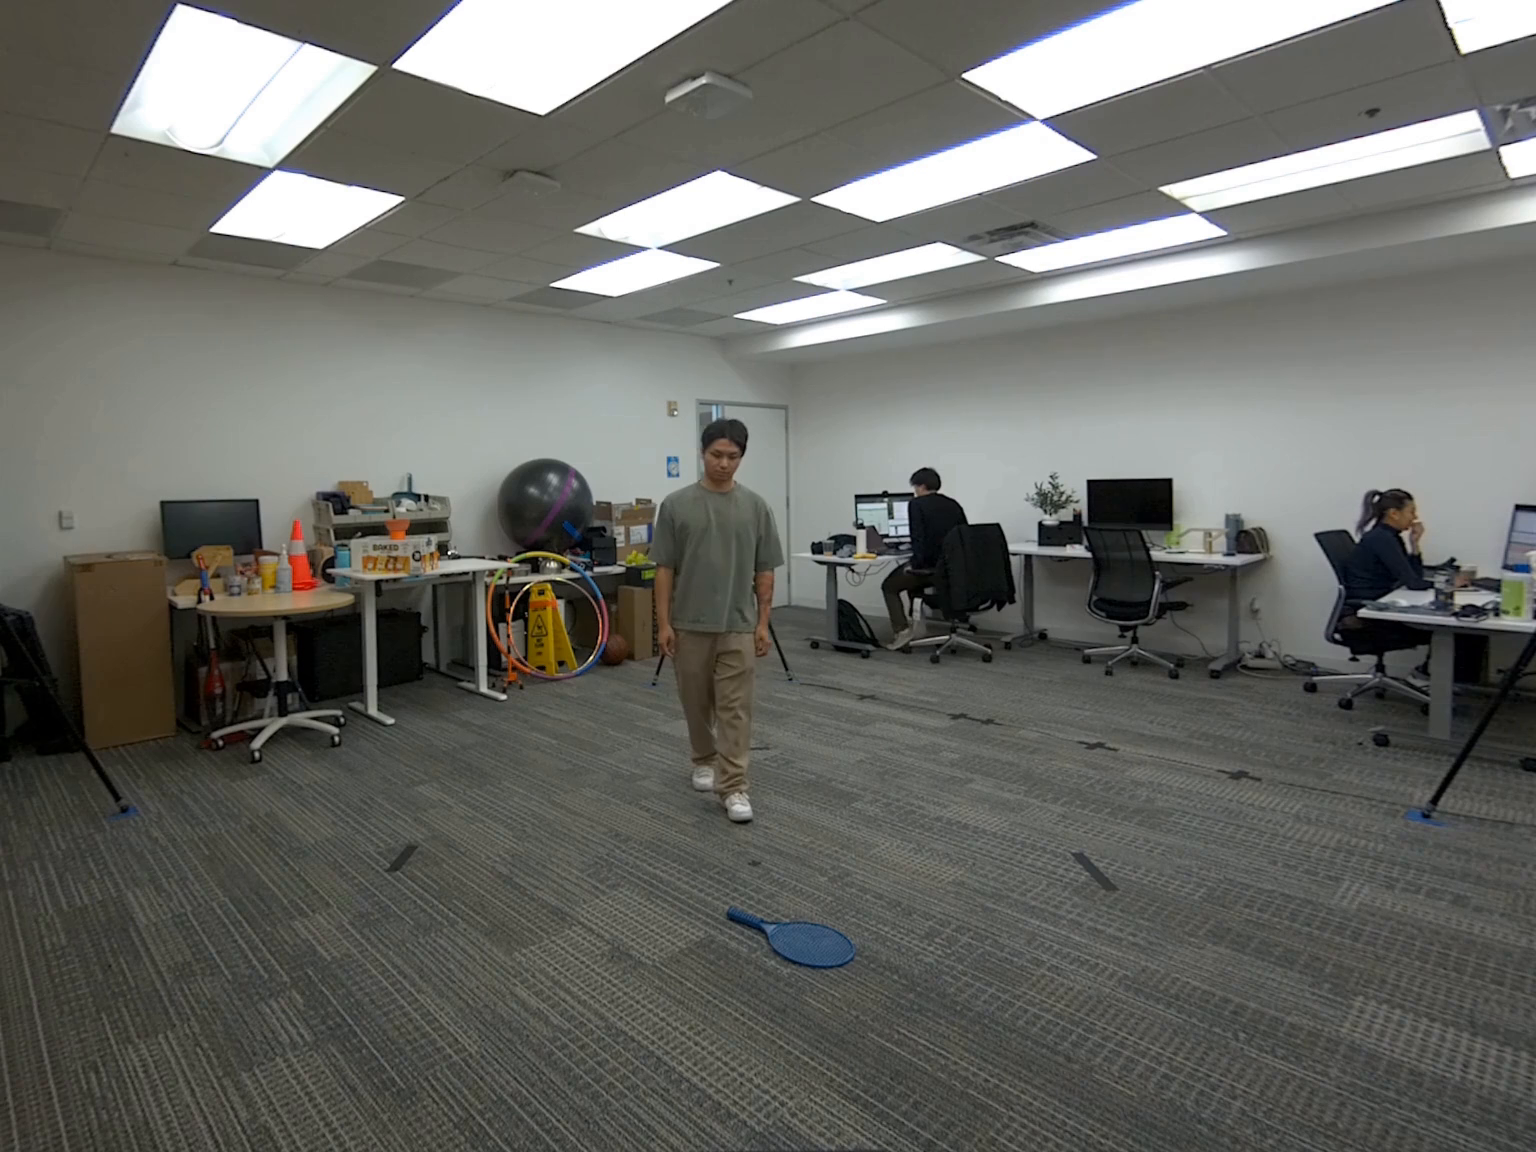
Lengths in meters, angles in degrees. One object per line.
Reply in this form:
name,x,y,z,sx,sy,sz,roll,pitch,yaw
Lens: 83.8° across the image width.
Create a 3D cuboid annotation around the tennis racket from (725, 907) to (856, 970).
tennis racket,0.063,1.086,2.598,0.446,0.031,0.208,5,8,34
